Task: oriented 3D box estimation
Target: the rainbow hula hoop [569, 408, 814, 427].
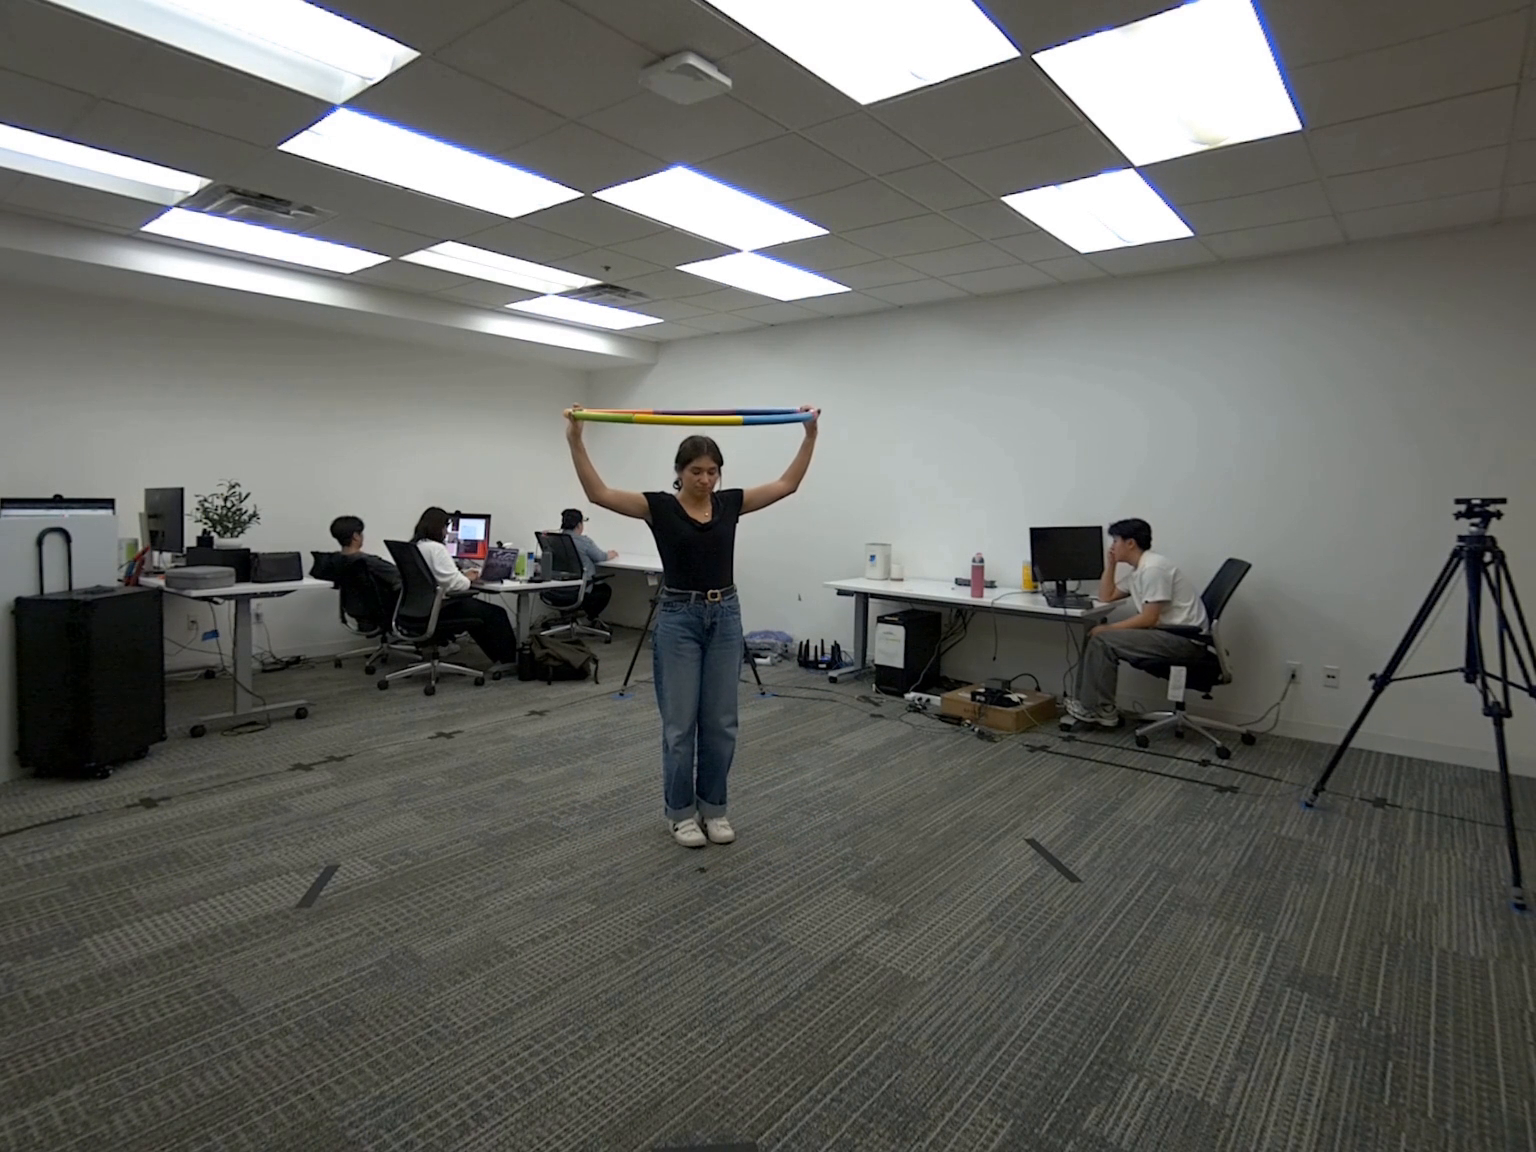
[{"bbox_3d":[-0.295,-0.640,3.344,0.978,0.035,0.990,-1,12,-2],"label":"rainbow hula hoop"}]
